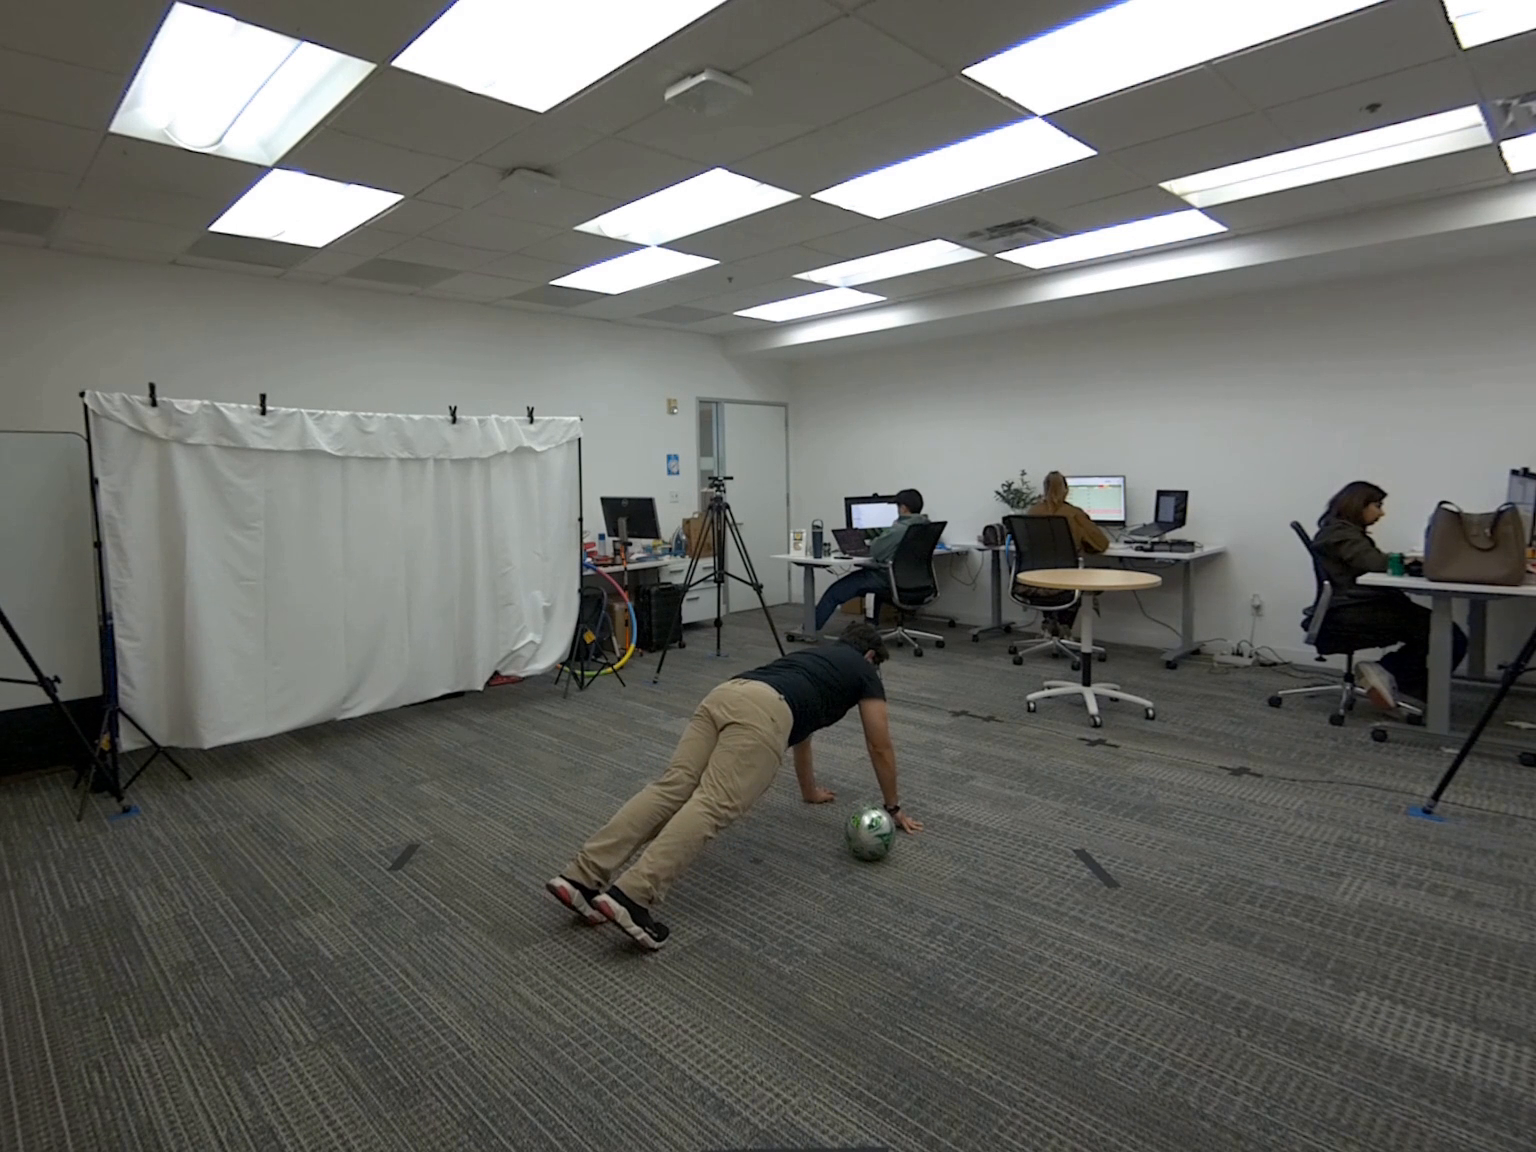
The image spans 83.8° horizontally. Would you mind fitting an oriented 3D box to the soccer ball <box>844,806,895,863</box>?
[{"bbox_3d":[0.372,0.936,3.110,0.187,0.187,0.188,-1,5,-2],"label":"soccer ball"}]
